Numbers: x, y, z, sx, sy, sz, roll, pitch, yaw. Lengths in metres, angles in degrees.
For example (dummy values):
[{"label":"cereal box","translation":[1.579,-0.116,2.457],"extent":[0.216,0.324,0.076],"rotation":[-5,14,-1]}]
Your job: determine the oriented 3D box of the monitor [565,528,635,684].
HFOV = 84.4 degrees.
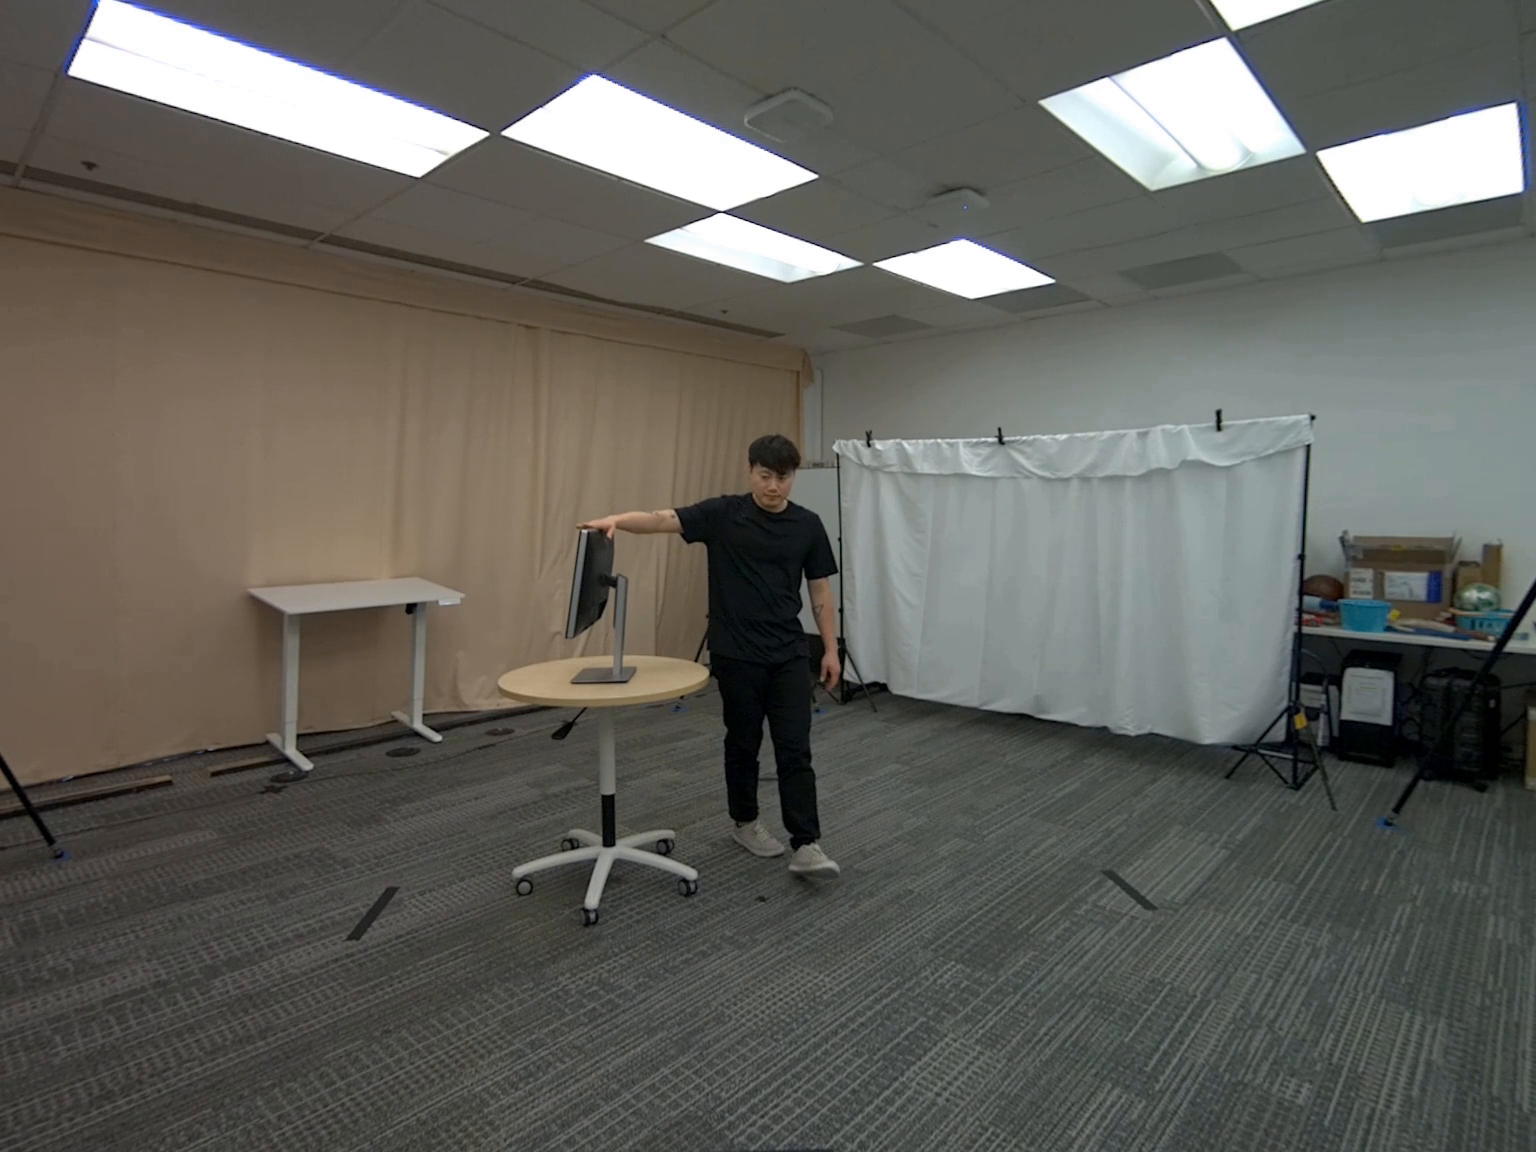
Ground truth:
[{"label":"monitor","translation":[-0.588,0.103,3.034],"extent":[0.187,0.521,0.540],"rotation":[-2,3,-1]}]
